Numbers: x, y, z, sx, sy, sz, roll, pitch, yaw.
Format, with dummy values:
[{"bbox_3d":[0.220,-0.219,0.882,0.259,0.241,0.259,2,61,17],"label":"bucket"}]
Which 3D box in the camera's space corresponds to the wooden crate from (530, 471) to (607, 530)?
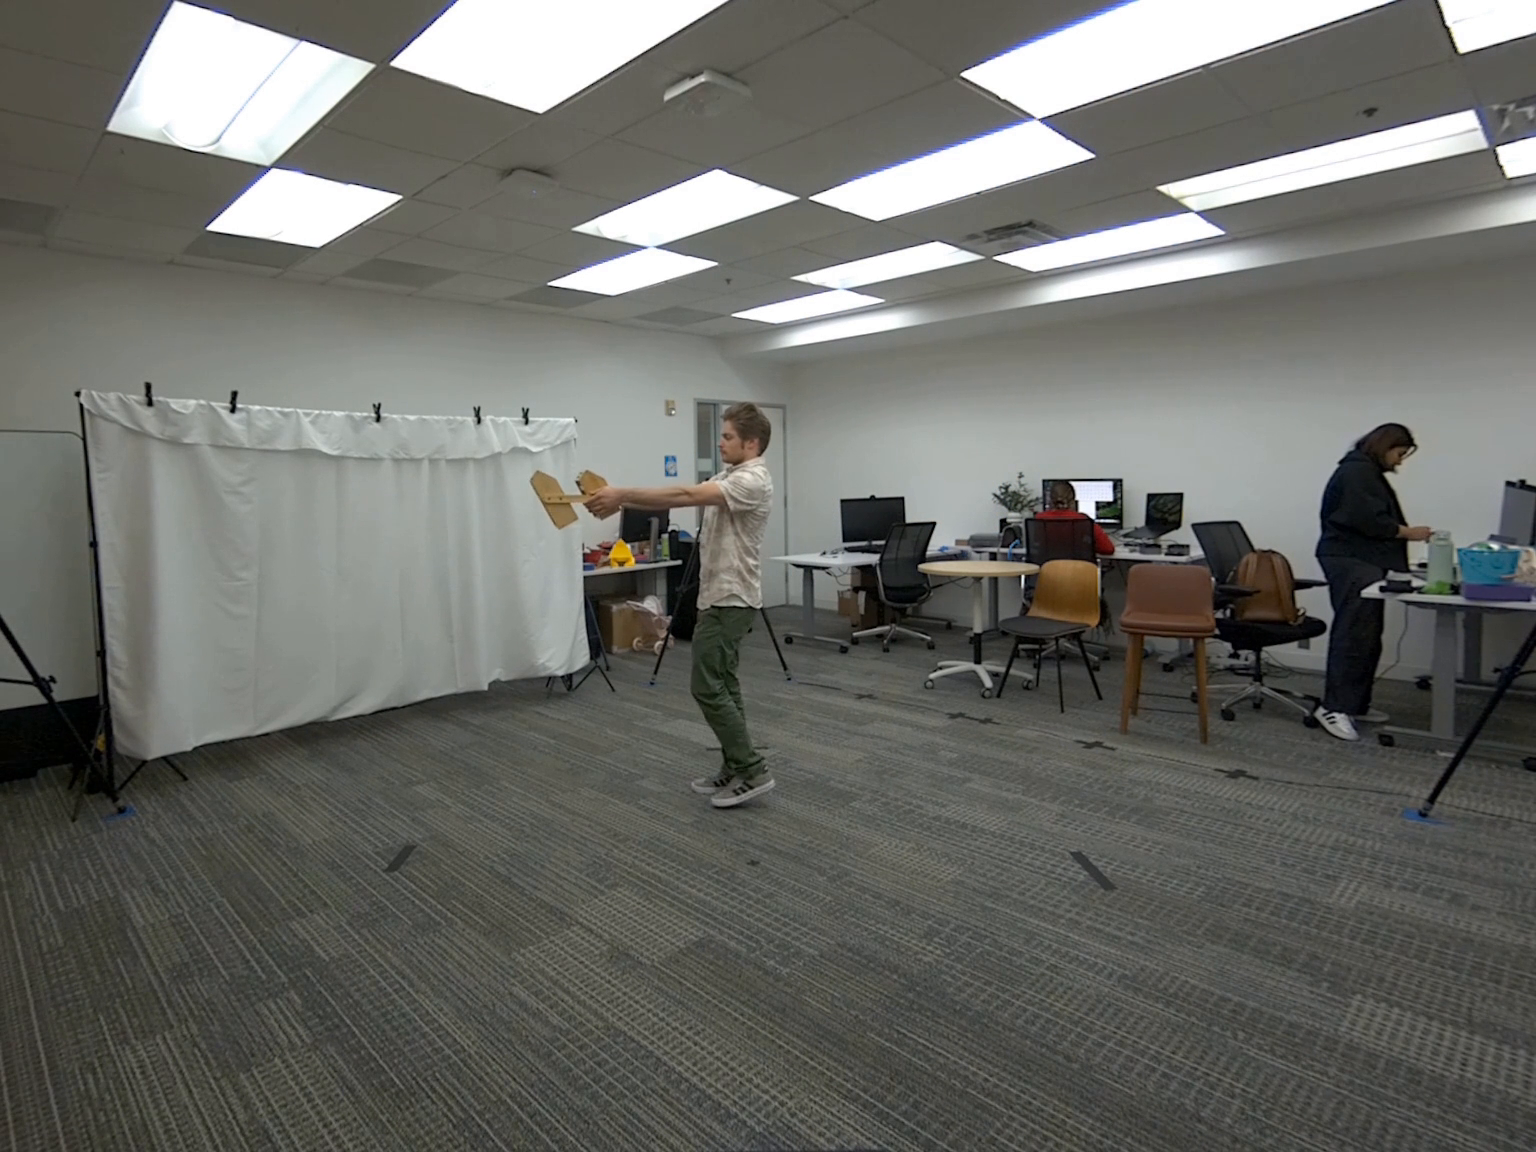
[{"bbox_3d":[-0.812,-0.352,3.585,0.272,0.299,0.329,-30,10,-11],"label":"wooden crate"}]
